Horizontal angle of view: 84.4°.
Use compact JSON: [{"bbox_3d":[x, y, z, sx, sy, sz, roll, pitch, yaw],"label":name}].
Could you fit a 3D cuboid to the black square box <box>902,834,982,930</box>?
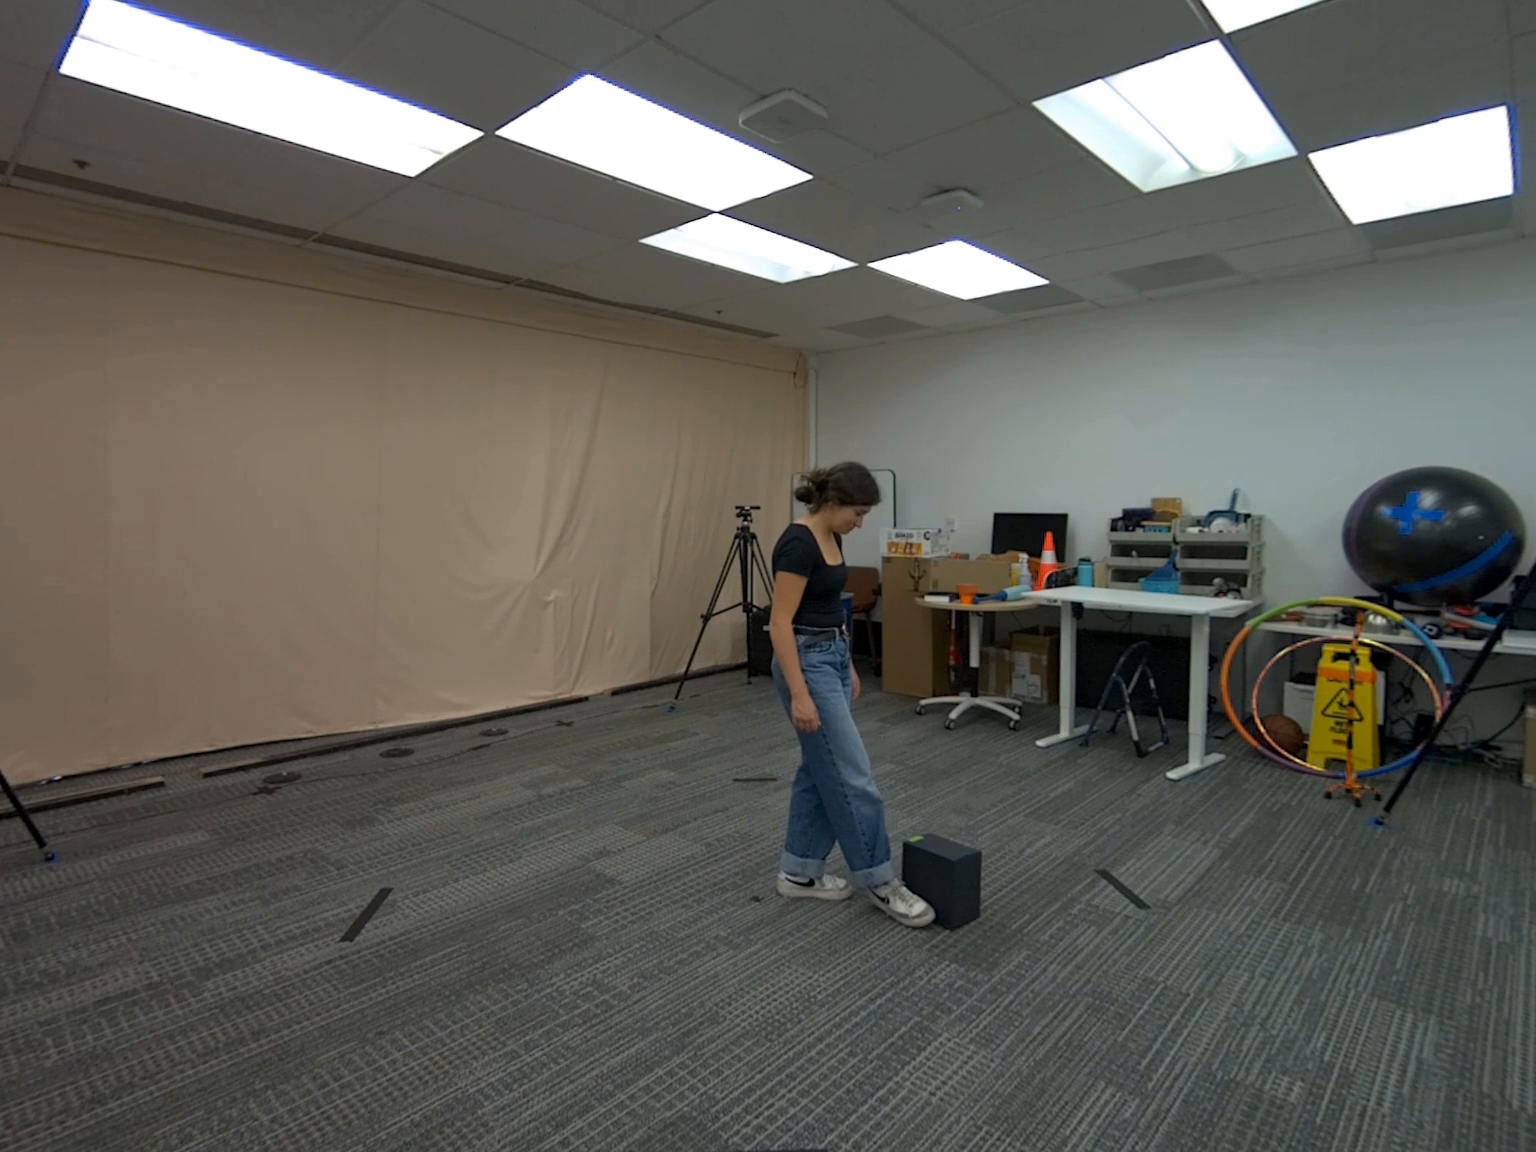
[{"bbox_3d":[0.587,1.033,2.867,0.151,0.227,0.224,-1,3,-40],"label":"black square box"}]
